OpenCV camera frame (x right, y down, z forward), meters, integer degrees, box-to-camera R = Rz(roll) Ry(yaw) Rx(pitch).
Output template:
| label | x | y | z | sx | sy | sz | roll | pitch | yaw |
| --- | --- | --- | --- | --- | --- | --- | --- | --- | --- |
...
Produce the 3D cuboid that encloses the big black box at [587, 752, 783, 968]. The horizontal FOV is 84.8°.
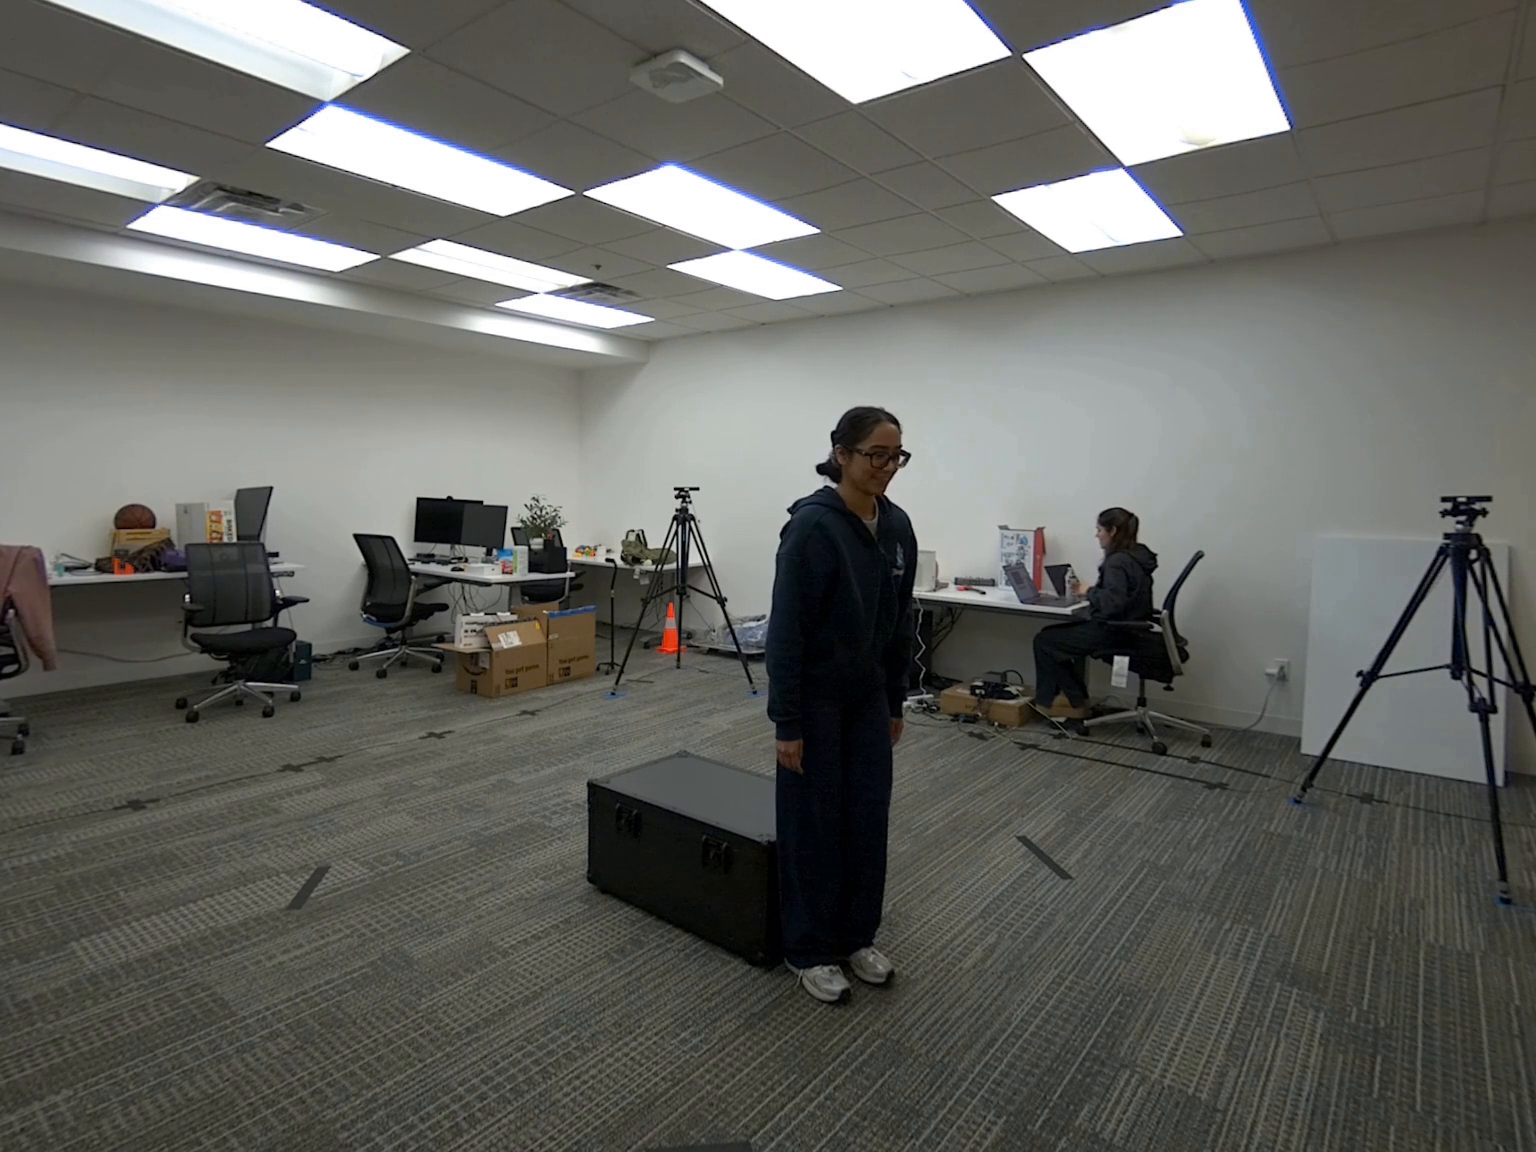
| label | x | y | z | sx | sy | sz | roll | pitch | yaw |
| --- | --- | --- | --- | --- | --- | --- | --- | --- | --- |
| big black box | -0.202 | 0.899 | 2.881 | 0.891 | 0.395 | 0.506 | 6 | 6 | 38 |
